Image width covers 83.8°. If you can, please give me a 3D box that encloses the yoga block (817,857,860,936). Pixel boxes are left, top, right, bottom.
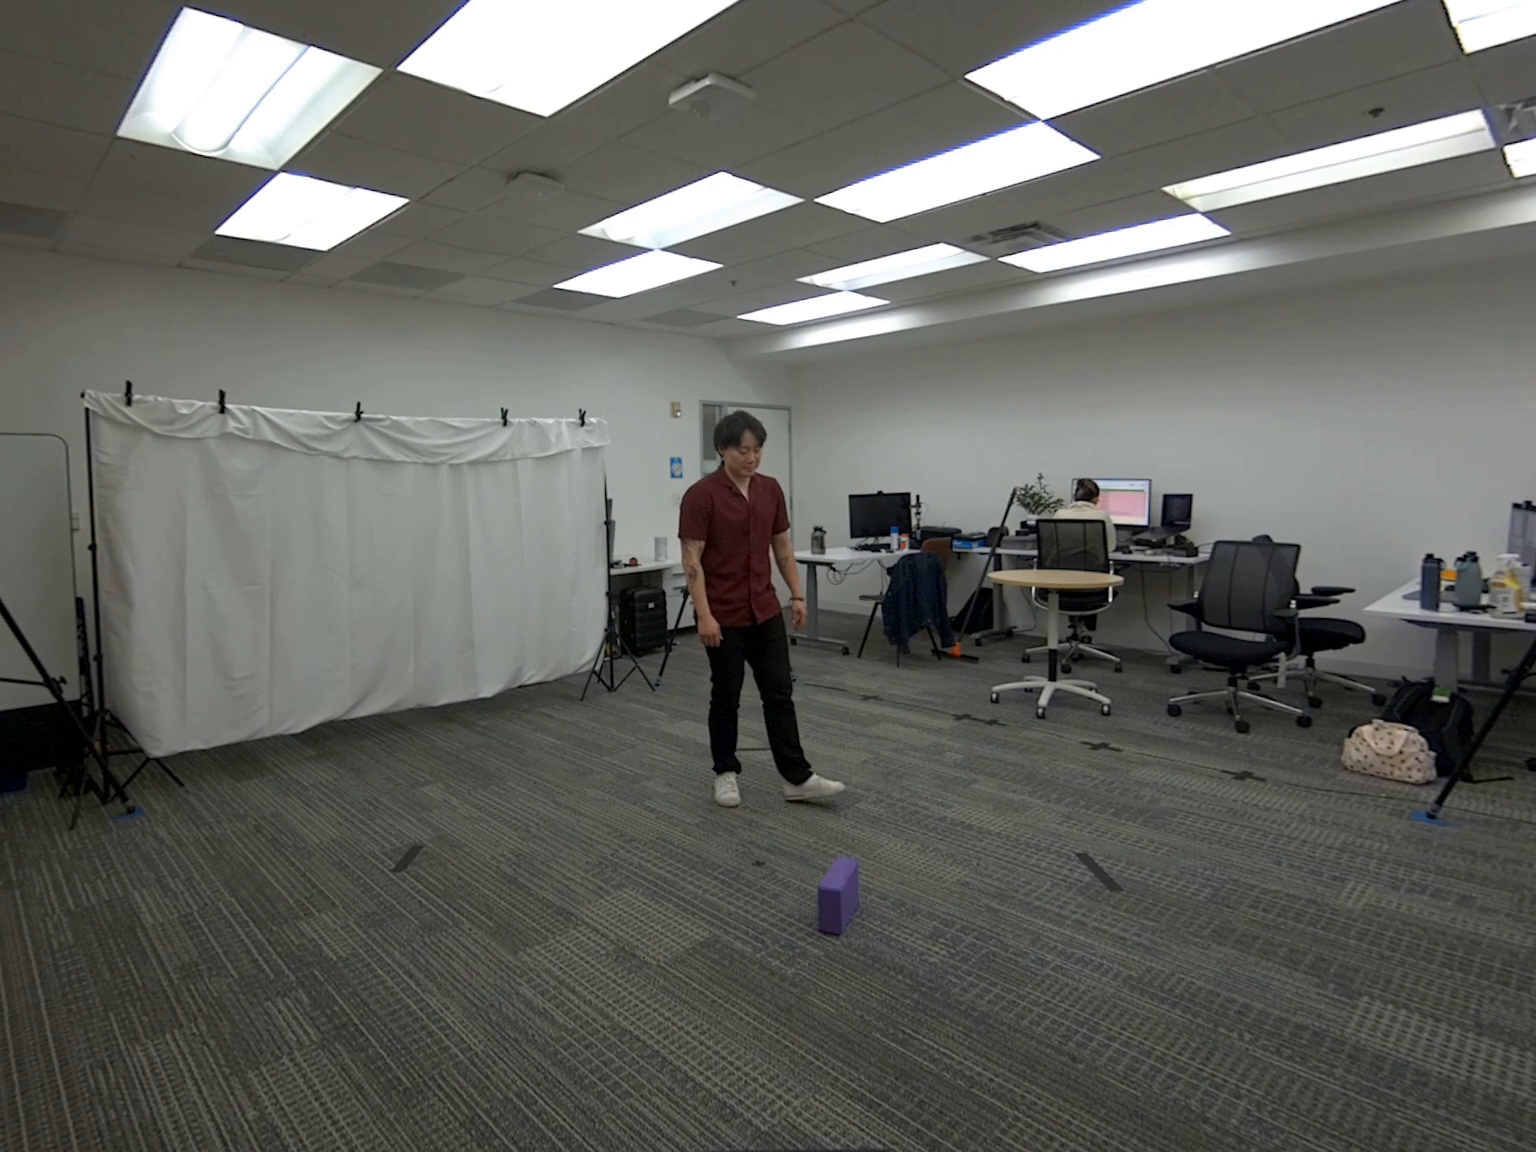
[{"bbox_3d":[0.230,1.016,2.712,0.078,0.148,0.226,2,7,20],"label":"yoga block"}]
